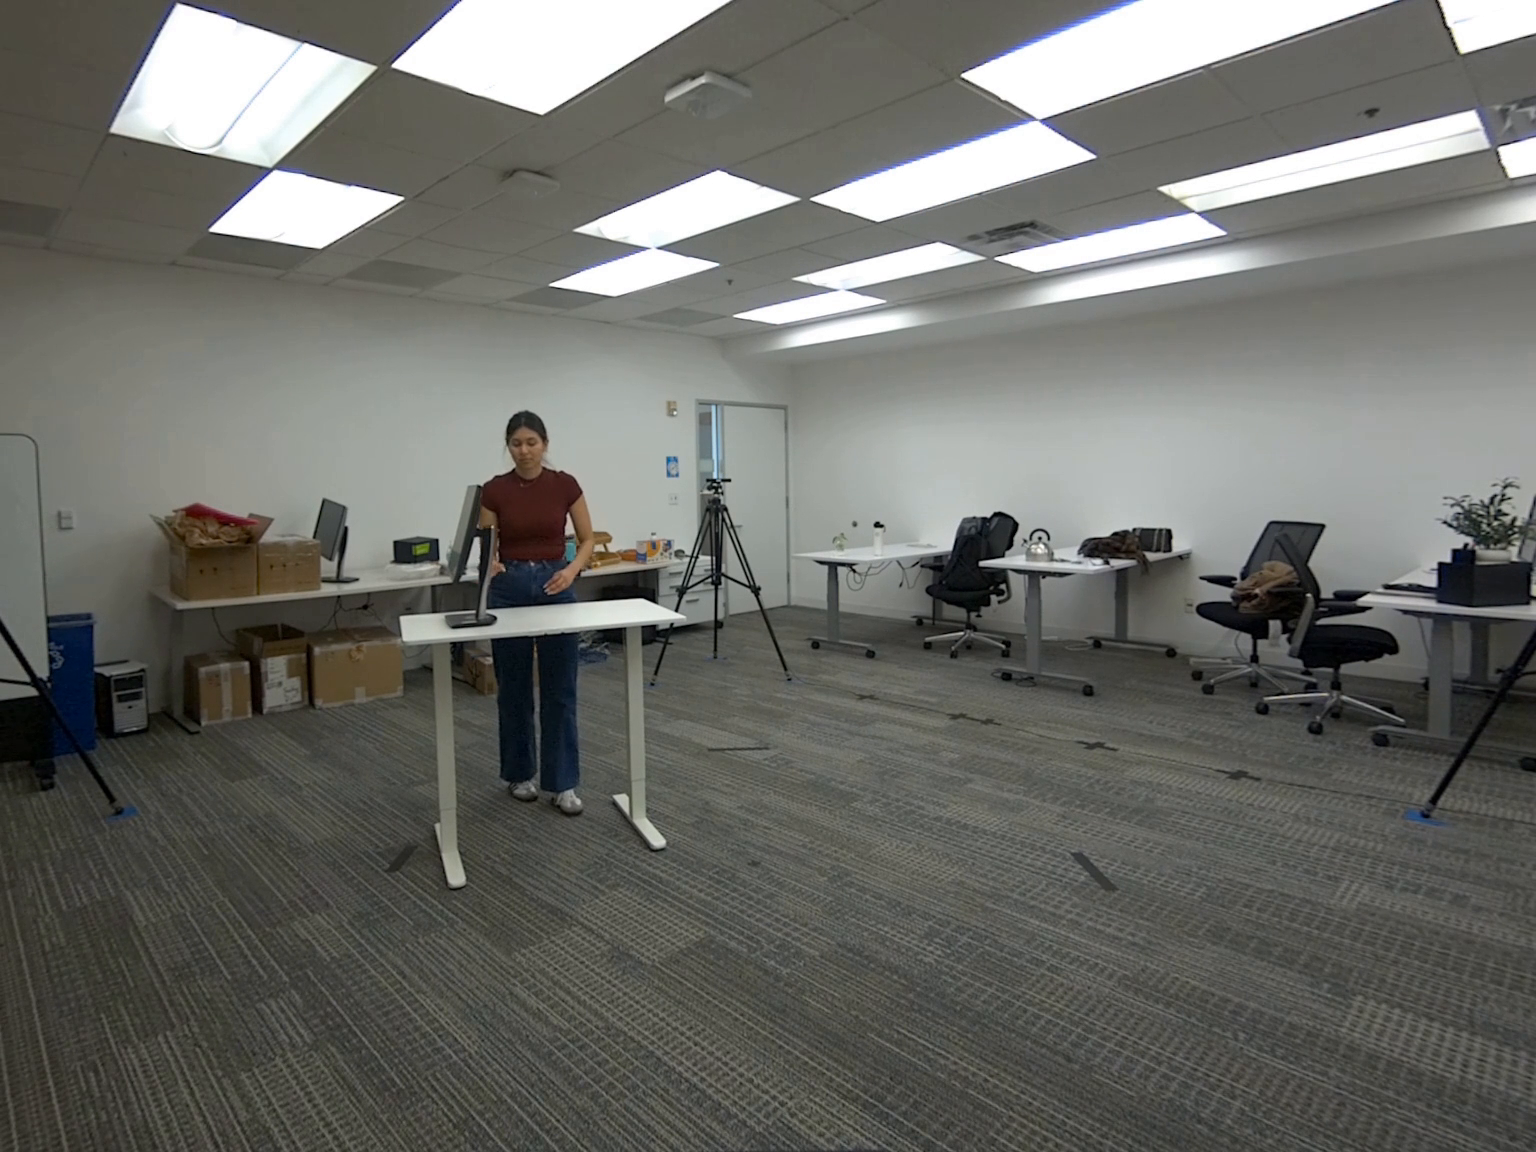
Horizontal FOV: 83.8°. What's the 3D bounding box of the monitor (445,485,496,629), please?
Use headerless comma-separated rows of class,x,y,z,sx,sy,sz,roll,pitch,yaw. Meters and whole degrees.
monitor,-1.117,-0.077,3.212,0.183,0.521,0.552,0,4,-24
